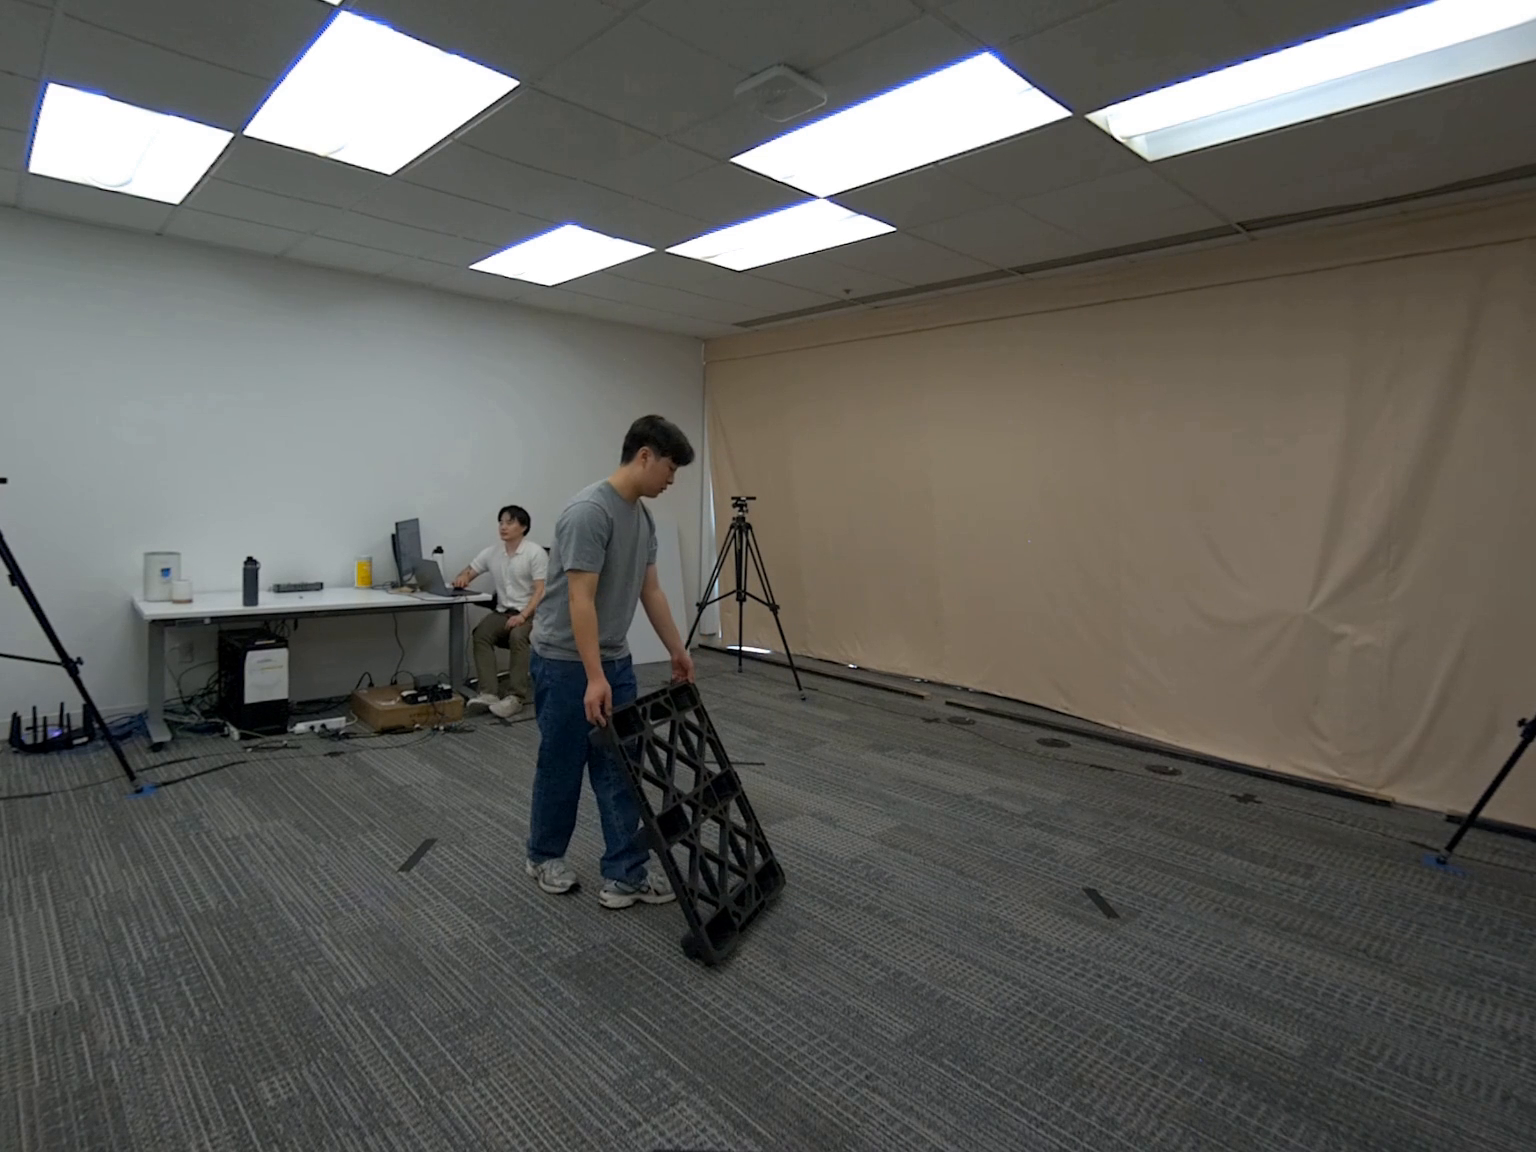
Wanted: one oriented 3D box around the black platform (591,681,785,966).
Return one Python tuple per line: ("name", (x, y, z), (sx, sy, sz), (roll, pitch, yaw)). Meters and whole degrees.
("black platform", (-0.272, 0.784, 2.792), (0.144, 0.812, 0.596), (-29, -8, 20))
